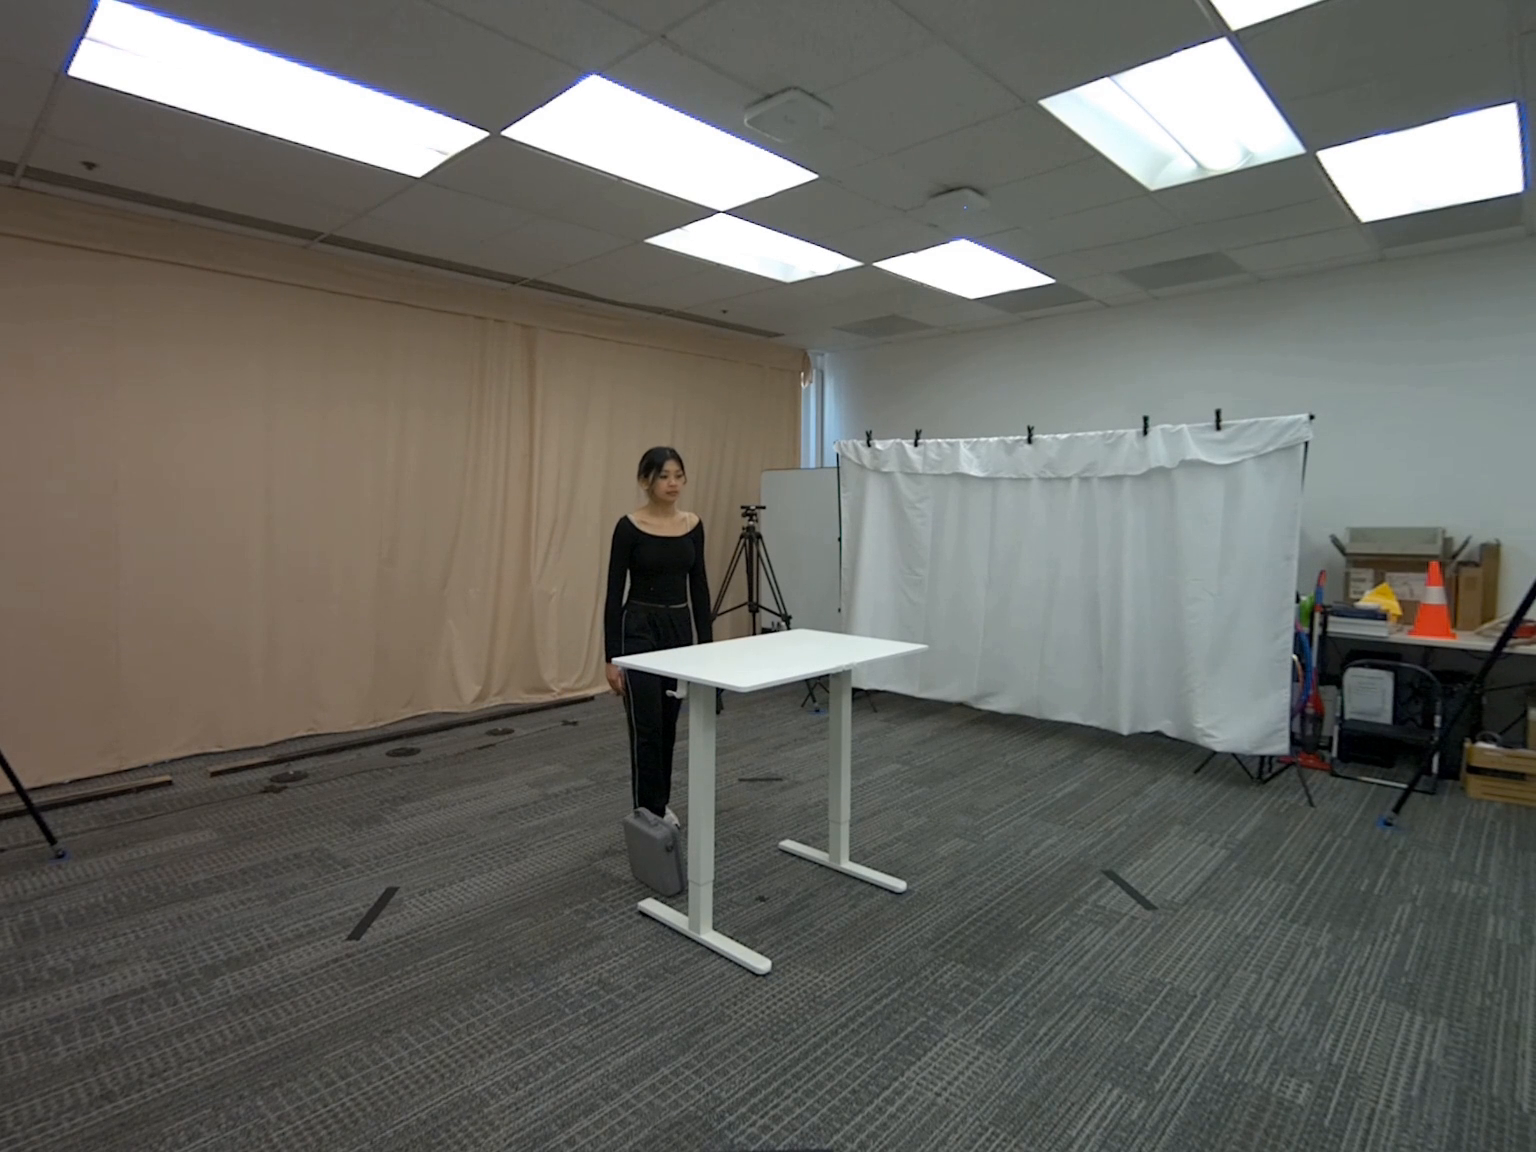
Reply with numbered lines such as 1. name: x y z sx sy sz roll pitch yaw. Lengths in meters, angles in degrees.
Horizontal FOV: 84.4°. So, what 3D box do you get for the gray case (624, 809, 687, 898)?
1. gray case: -0.411 1.001 3.089 0.102 0.259 0.265 -13 12 -35
